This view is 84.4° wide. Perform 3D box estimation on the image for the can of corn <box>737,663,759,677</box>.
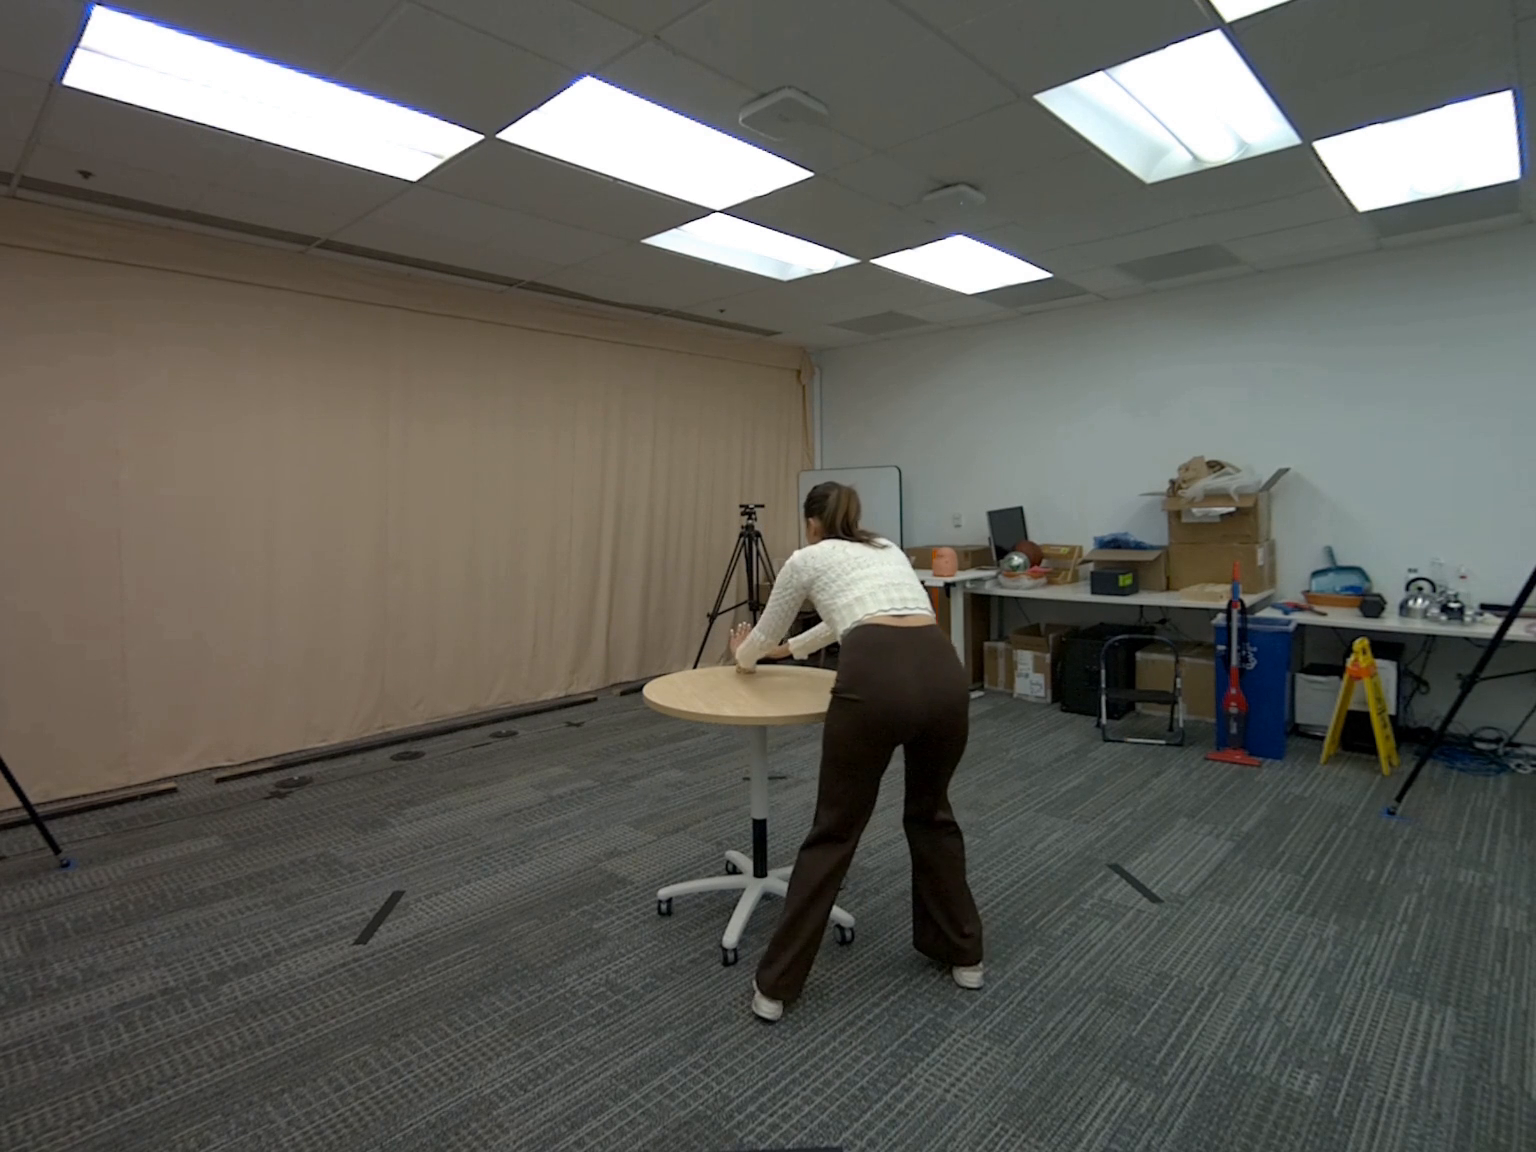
[{"bbox_3d":[-0.075,0.297,3.052,0.074,0.111,0.074,0,5,-2],"label":"can of corn"}]
